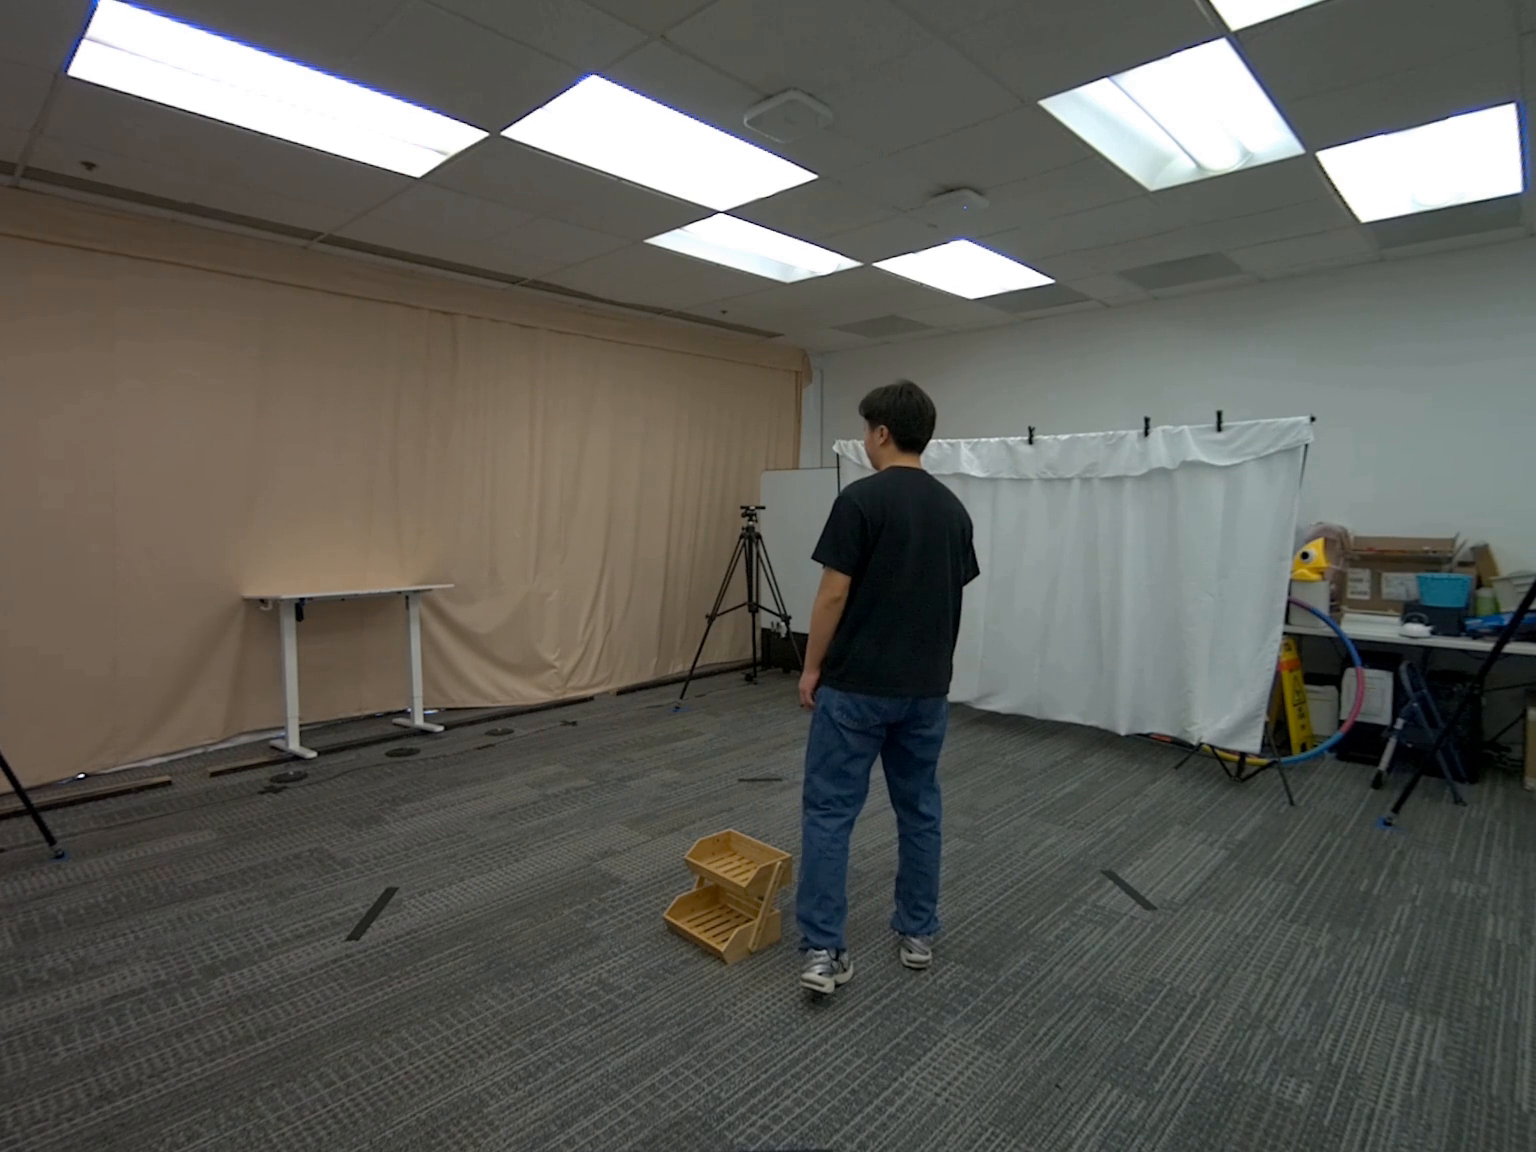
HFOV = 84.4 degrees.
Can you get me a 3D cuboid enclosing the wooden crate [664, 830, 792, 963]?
[{"bbox_3d":[-0.134,1.032,2.748,0.293,0.273,0.335,-3,5,-43],"label":"wooden crate"}]
